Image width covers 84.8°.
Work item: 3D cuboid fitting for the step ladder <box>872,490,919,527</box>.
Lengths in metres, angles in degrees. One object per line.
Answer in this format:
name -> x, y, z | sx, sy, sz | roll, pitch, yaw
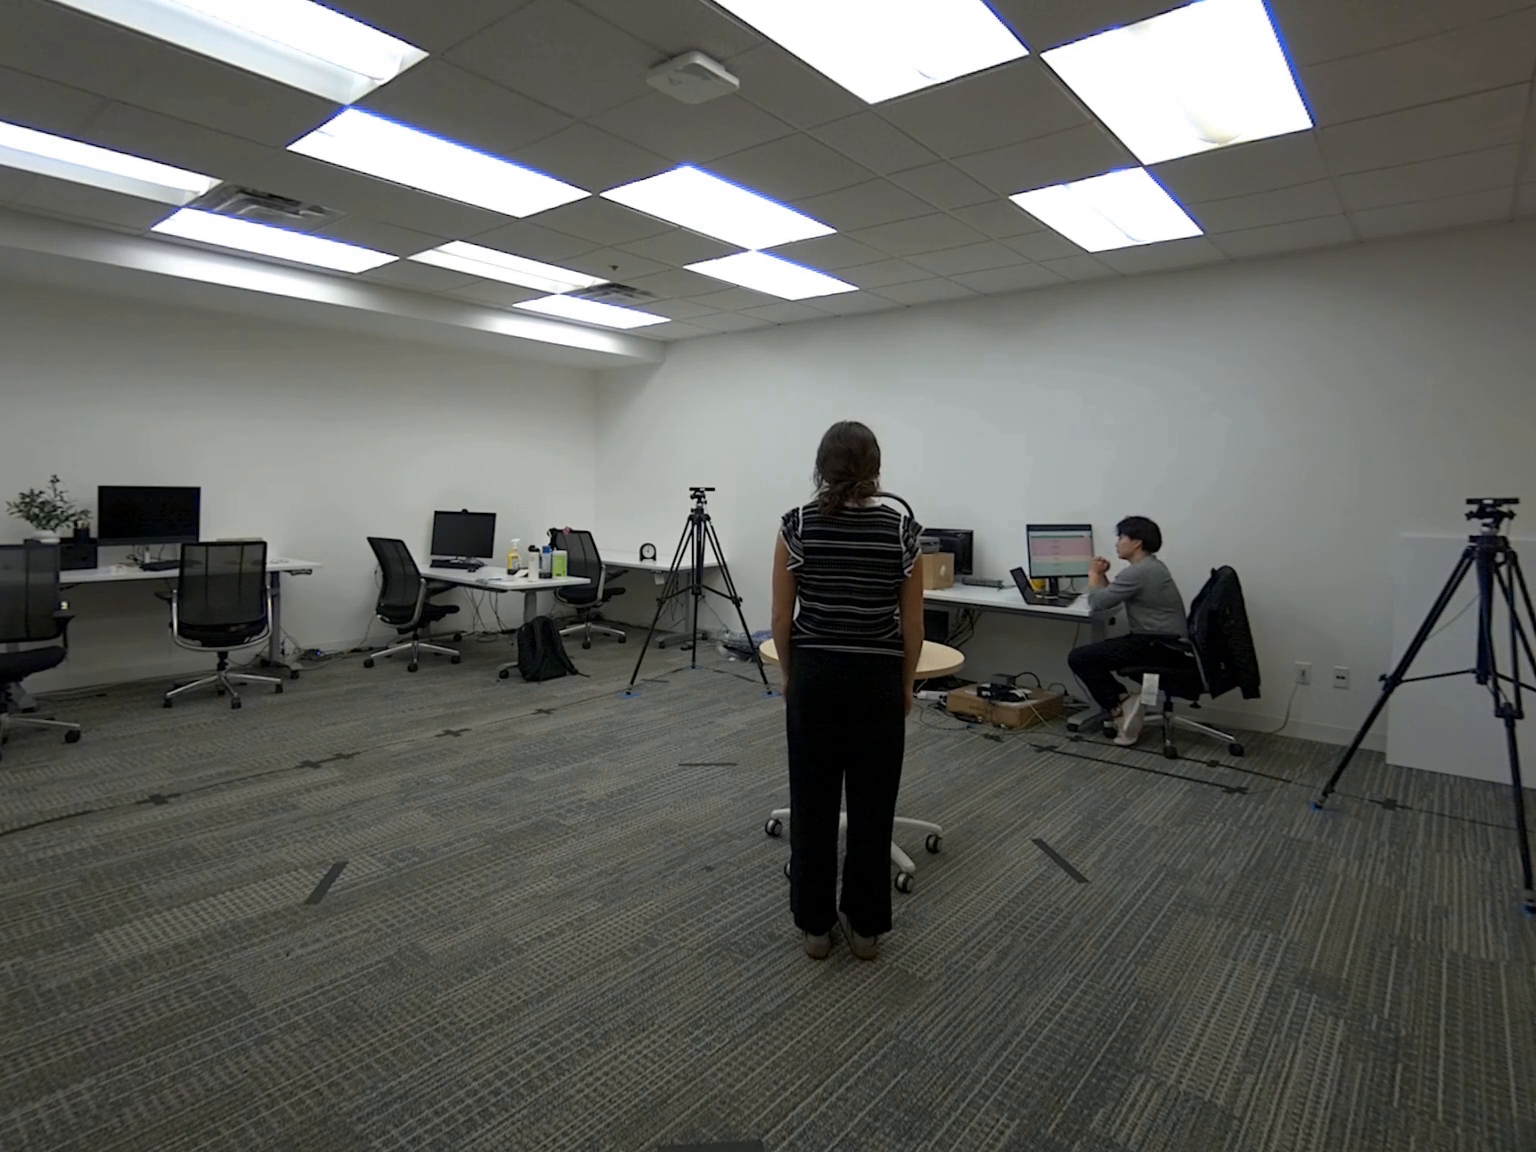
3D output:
step ladder -> 0.339, -0.016, 3.258 | 0.430, 0.603, 0.352 | -2, 5, -3
